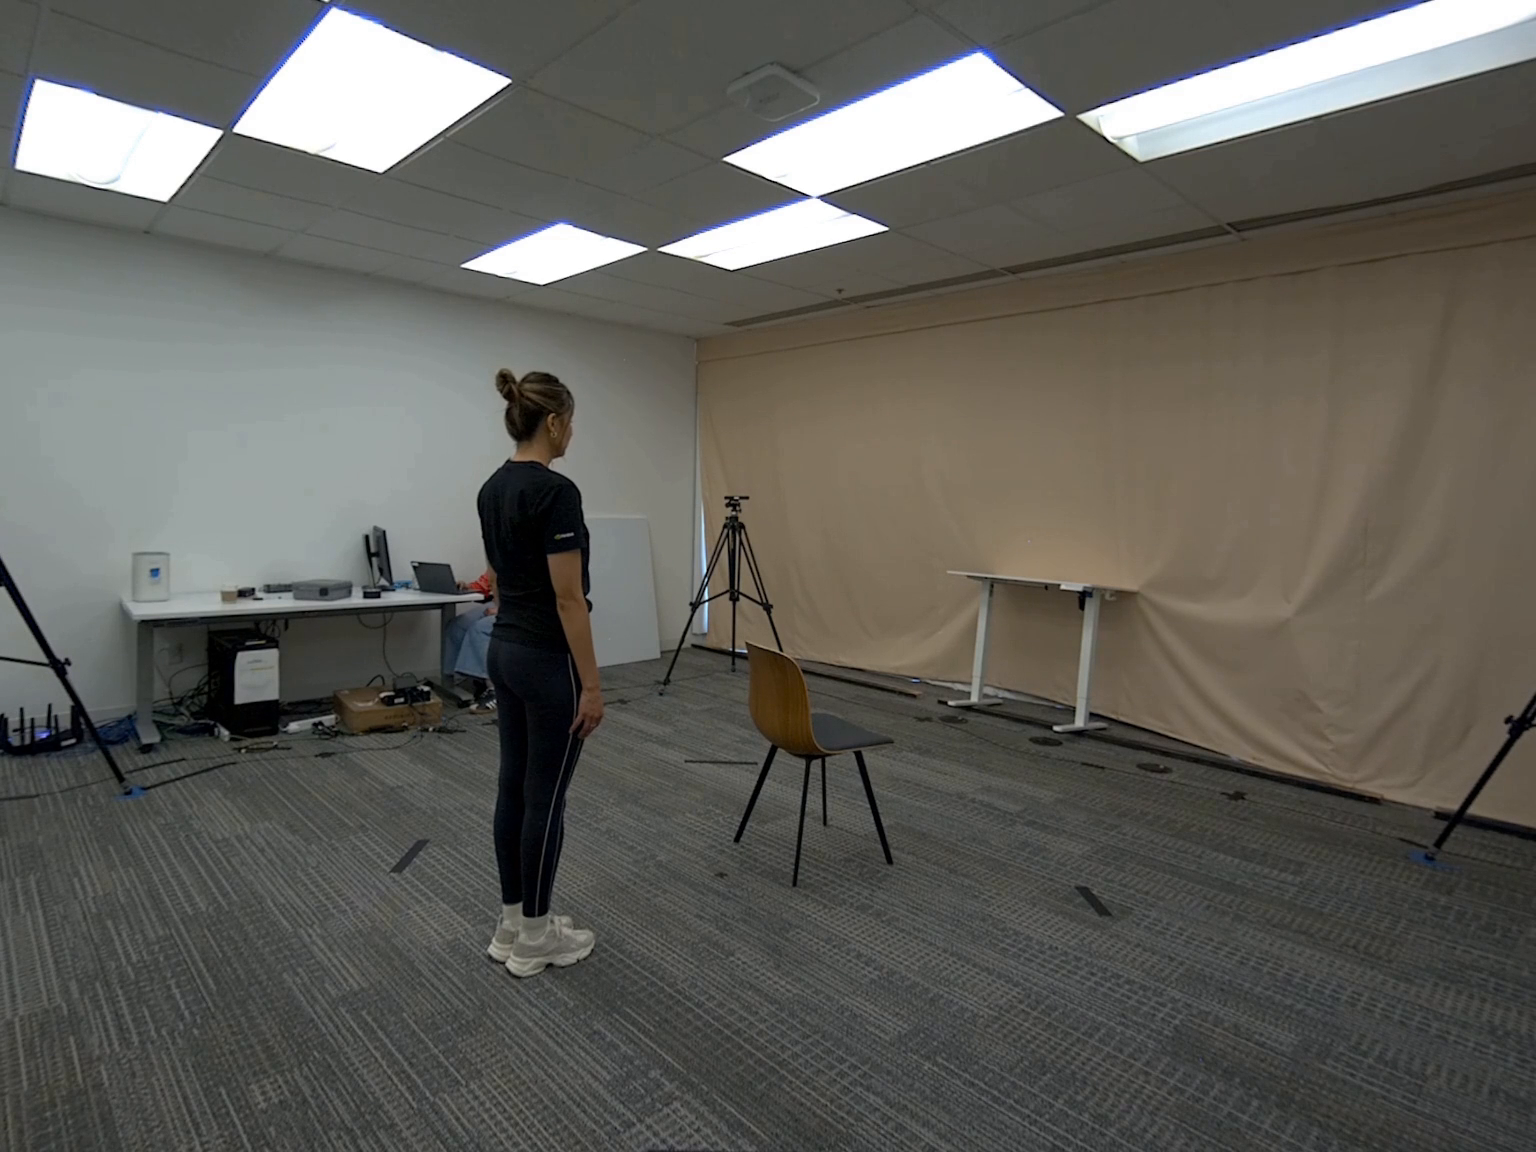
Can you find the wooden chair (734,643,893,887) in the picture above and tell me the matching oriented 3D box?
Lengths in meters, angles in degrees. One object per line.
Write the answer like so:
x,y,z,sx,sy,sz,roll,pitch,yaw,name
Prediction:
0.184,0.667,3.296,0.513,0.874,0.489,-5,6,-30,wooden chair
